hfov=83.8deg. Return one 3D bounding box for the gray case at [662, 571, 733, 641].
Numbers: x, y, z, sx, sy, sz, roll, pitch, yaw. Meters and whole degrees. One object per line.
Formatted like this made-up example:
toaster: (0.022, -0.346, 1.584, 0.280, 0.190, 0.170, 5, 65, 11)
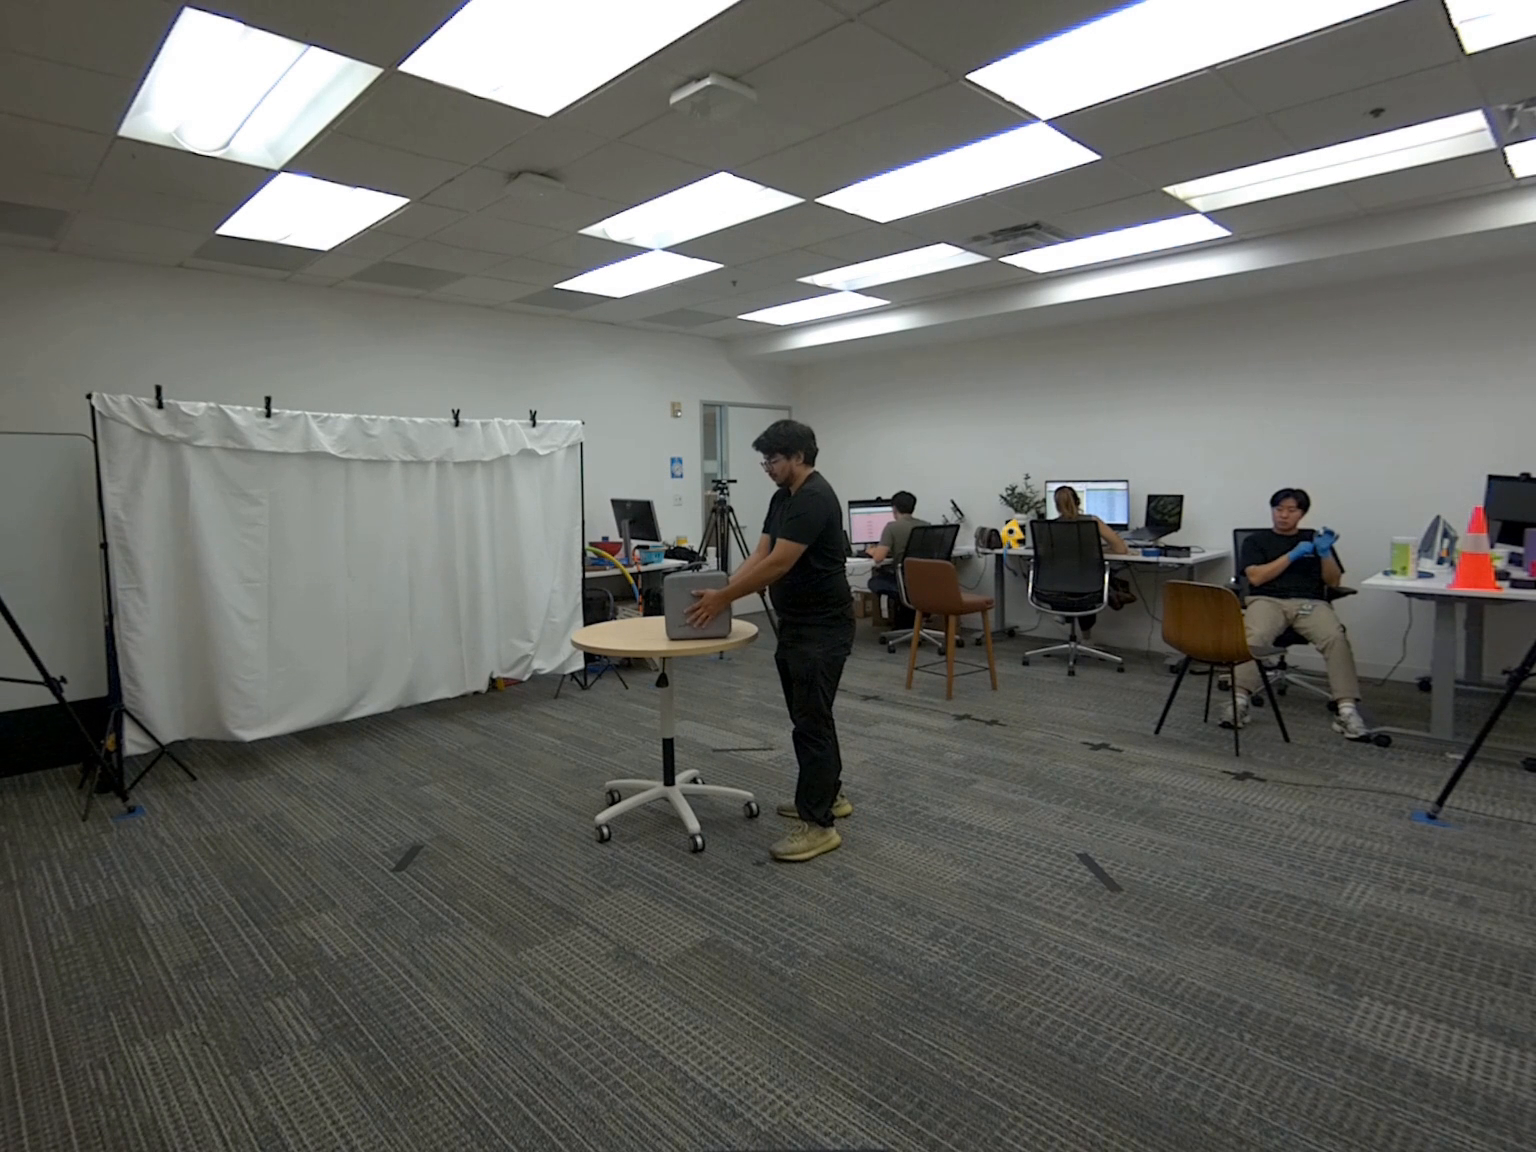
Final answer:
gray case: (-0.276, 0.111, 3.344, 0.257, 0.261, 0.104, -2, -3, -1)
